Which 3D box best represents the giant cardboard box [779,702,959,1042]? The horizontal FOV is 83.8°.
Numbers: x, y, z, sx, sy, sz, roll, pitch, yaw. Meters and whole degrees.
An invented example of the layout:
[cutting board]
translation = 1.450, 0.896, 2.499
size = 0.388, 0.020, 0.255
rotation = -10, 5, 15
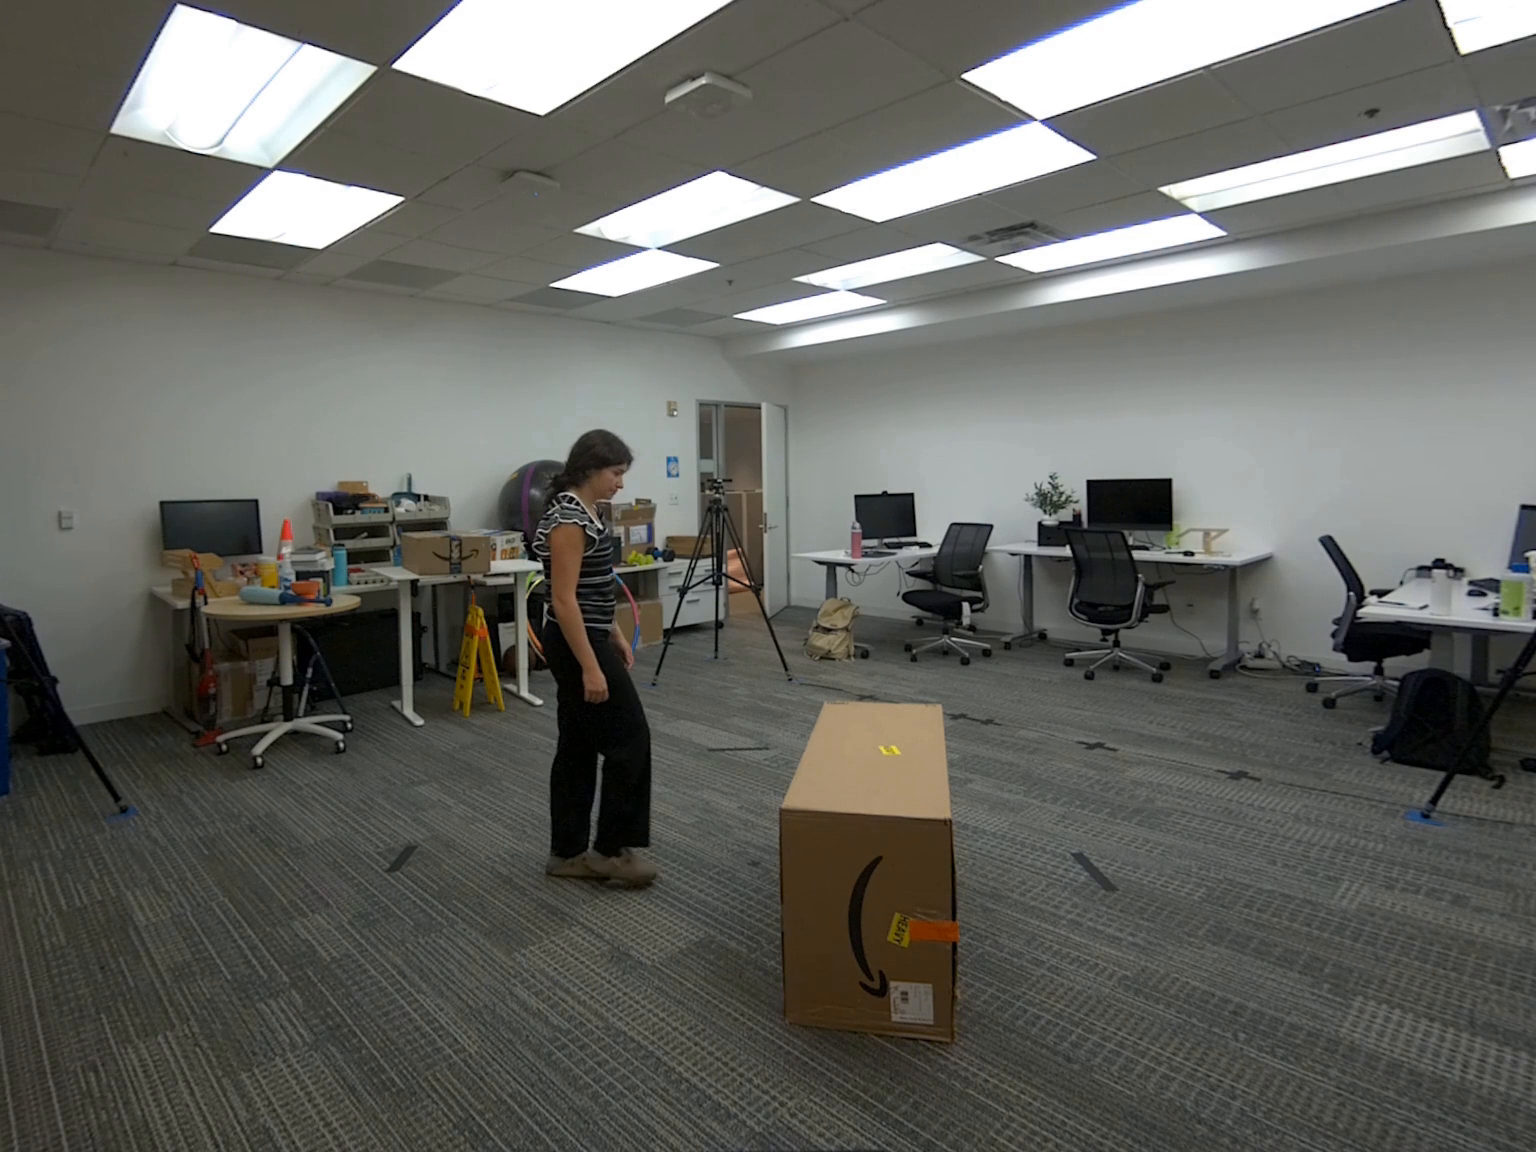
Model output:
[giant cardboard box]
translation = 0.338, 0.806, 2.612
size = 0.431, 0.575, 1.018
rotation = 0, 6, 11
